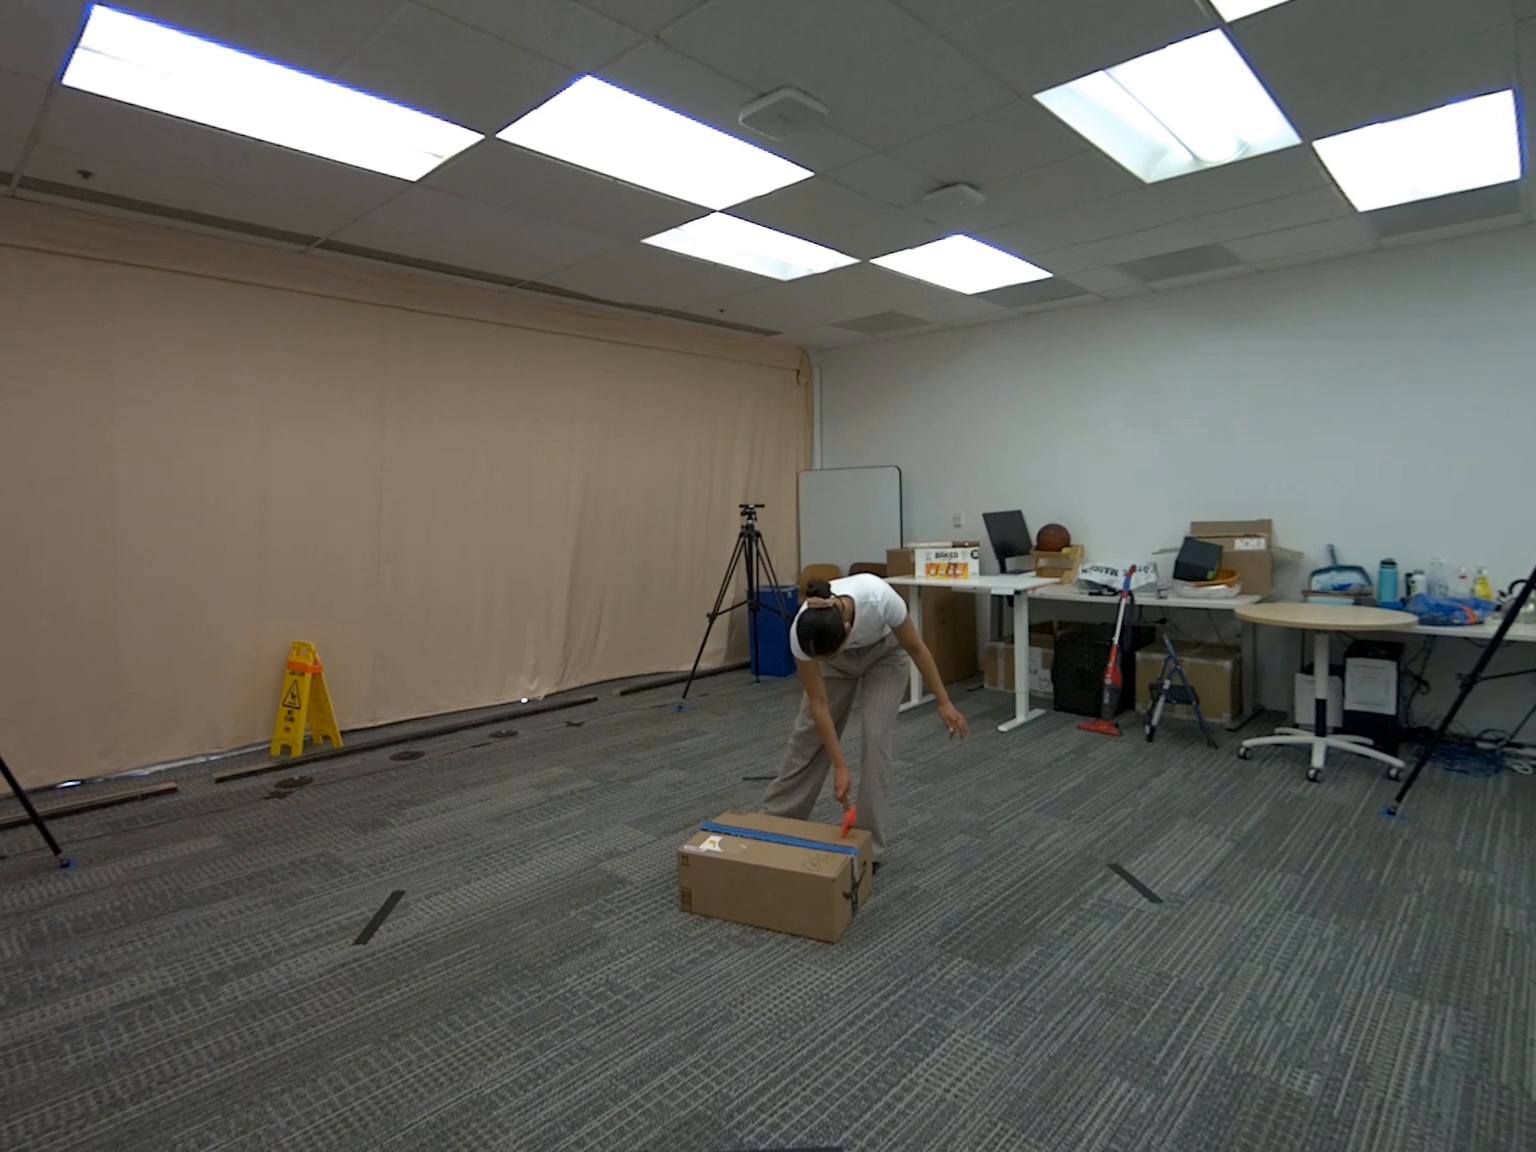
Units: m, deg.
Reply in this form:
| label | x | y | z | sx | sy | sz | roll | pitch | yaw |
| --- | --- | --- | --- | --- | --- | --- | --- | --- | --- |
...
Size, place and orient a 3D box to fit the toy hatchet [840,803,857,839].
| label | x | y | z | sx | sy | sz | roll | pitch | yaw |
| --- | --- | --- | --- | --- | --- | --- | --- | --- | --- |
| toy hatchet | 0.278 | 0.849 | 3.040 | 0.030 | 0.131 | 0.269 | 9 | 1 | 1 |
